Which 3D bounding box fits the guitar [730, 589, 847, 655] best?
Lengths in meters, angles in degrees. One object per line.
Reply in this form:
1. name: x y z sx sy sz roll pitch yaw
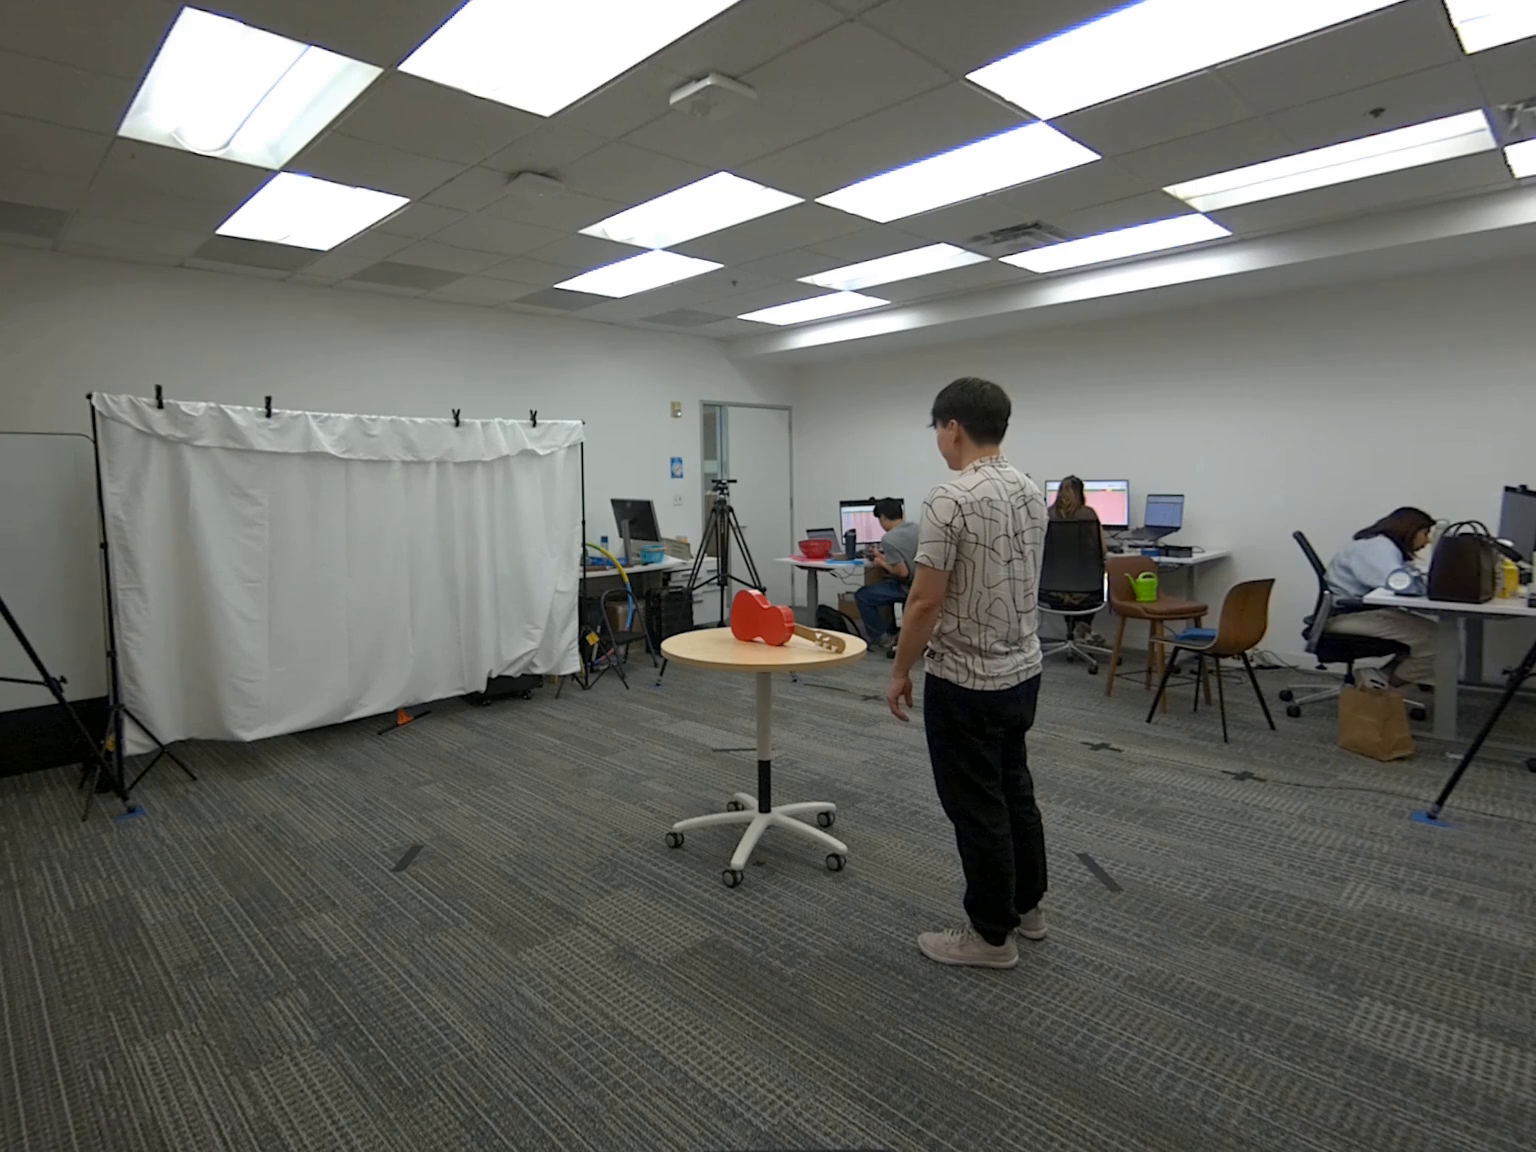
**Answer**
1. guitar: 0.068 0.165 3.134 0.513 0.192 0.069 6 5 42
